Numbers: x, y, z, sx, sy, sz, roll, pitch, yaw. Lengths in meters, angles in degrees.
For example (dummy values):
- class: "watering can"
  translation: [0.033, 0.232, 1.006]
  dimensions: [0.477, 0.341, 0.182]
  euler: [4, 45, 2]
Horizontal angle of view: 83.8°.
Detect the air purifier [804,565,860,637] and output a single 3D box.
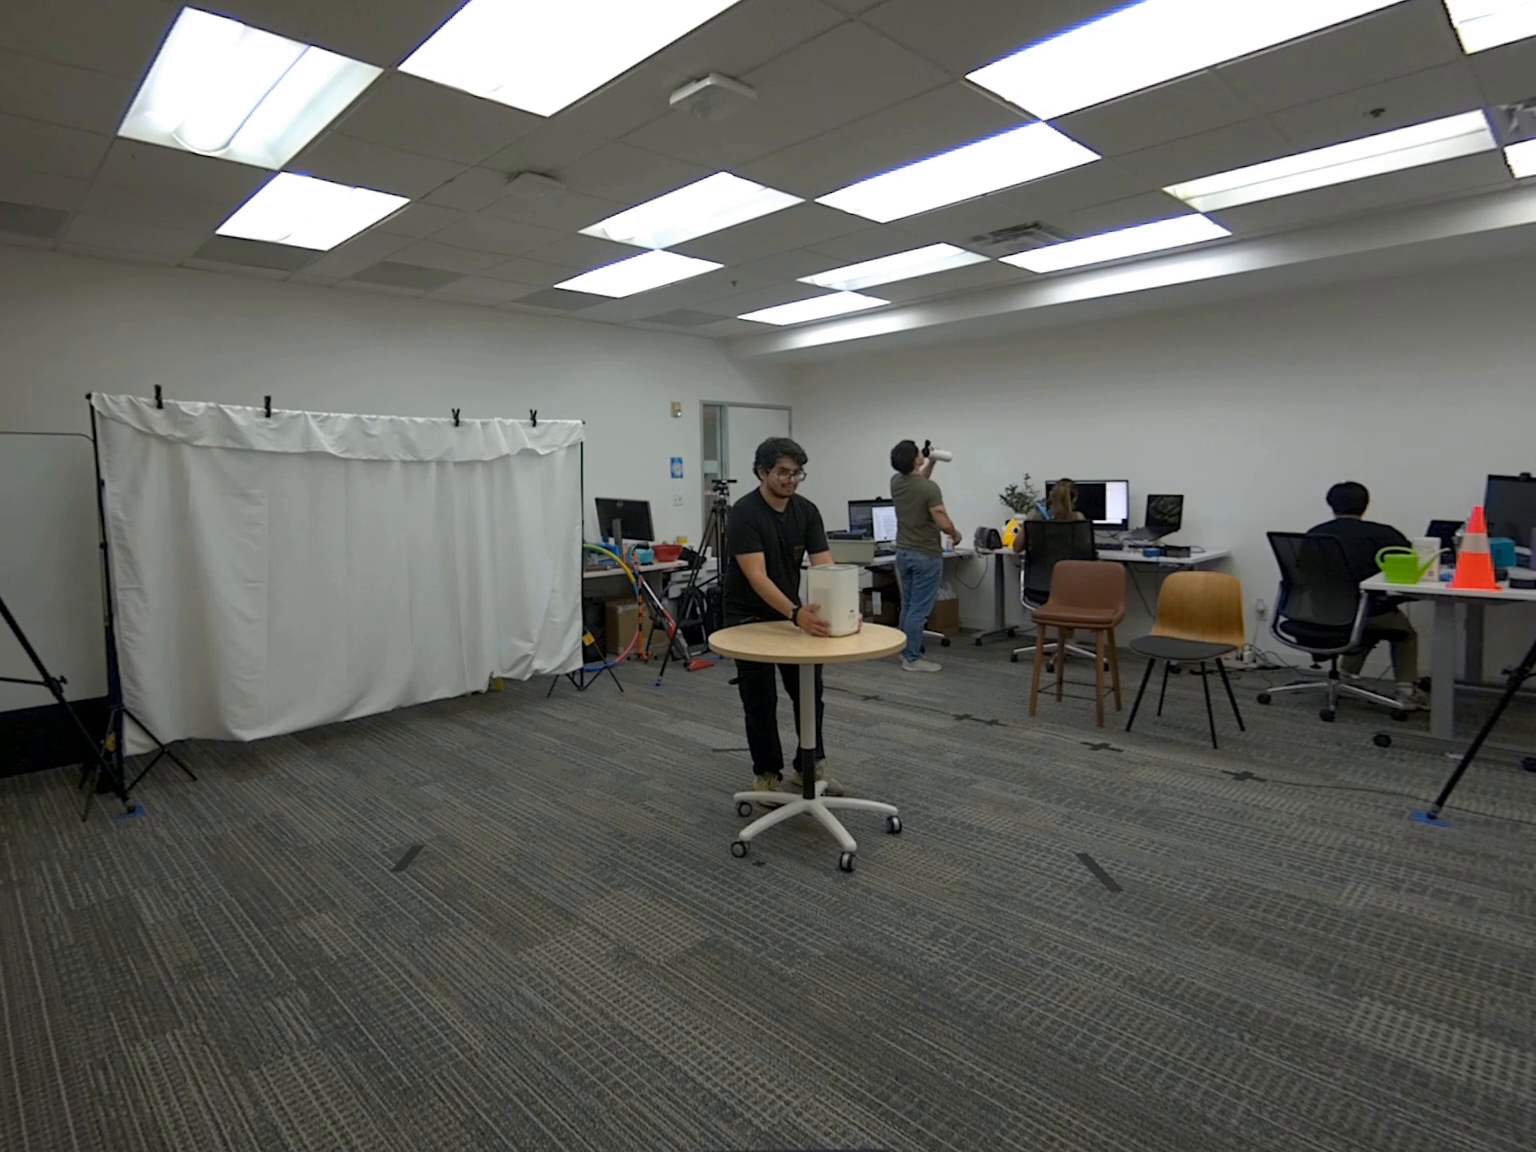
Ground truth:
- class: "air purifier"
  translation: [0.257, 0.096, 3.365]
  dimensions: [0.177, 0.264, 0.167]
  euler: [3, 6, 37]
